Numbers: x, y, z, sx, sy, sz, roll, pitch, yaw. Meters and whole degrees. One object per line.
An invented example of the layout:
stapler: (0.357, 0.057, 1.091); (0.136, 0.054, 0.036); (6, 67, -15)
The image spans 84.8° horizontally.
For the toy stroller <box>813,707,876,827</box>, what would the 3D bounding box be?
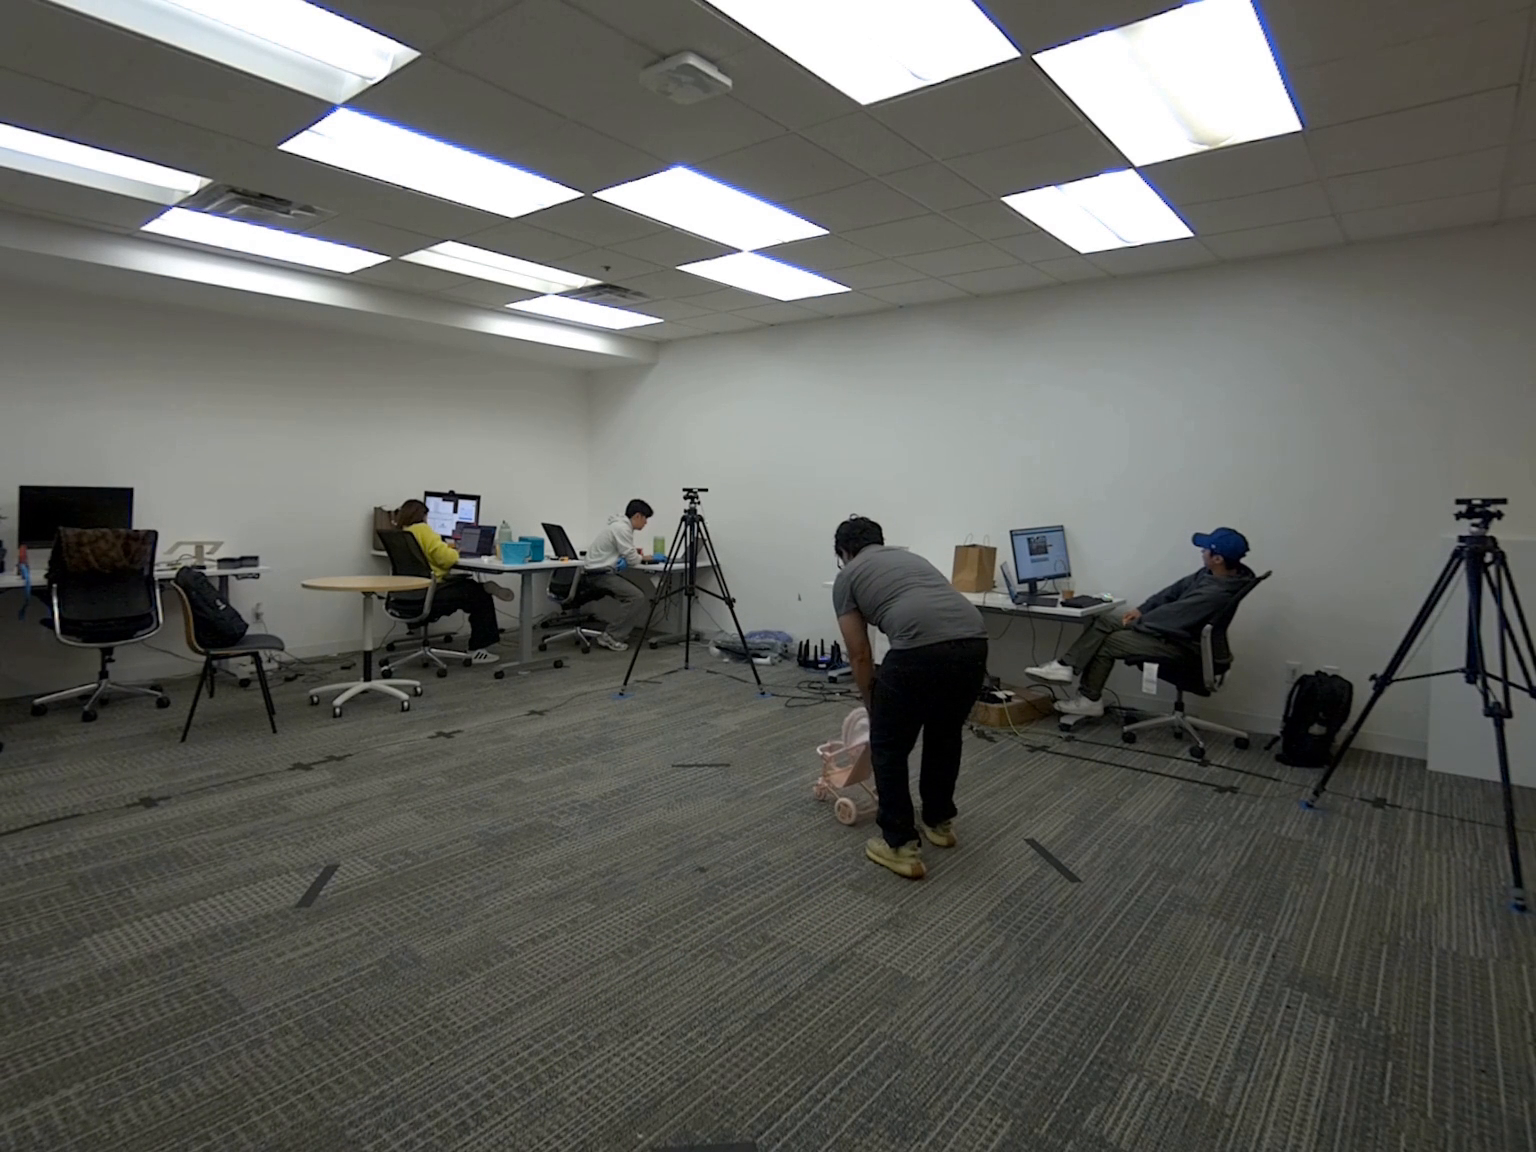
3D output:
toy stroller: (0.366, 0.801, 3.691); (0.273, 0.529, 0.356); (-2, 21, -41)
